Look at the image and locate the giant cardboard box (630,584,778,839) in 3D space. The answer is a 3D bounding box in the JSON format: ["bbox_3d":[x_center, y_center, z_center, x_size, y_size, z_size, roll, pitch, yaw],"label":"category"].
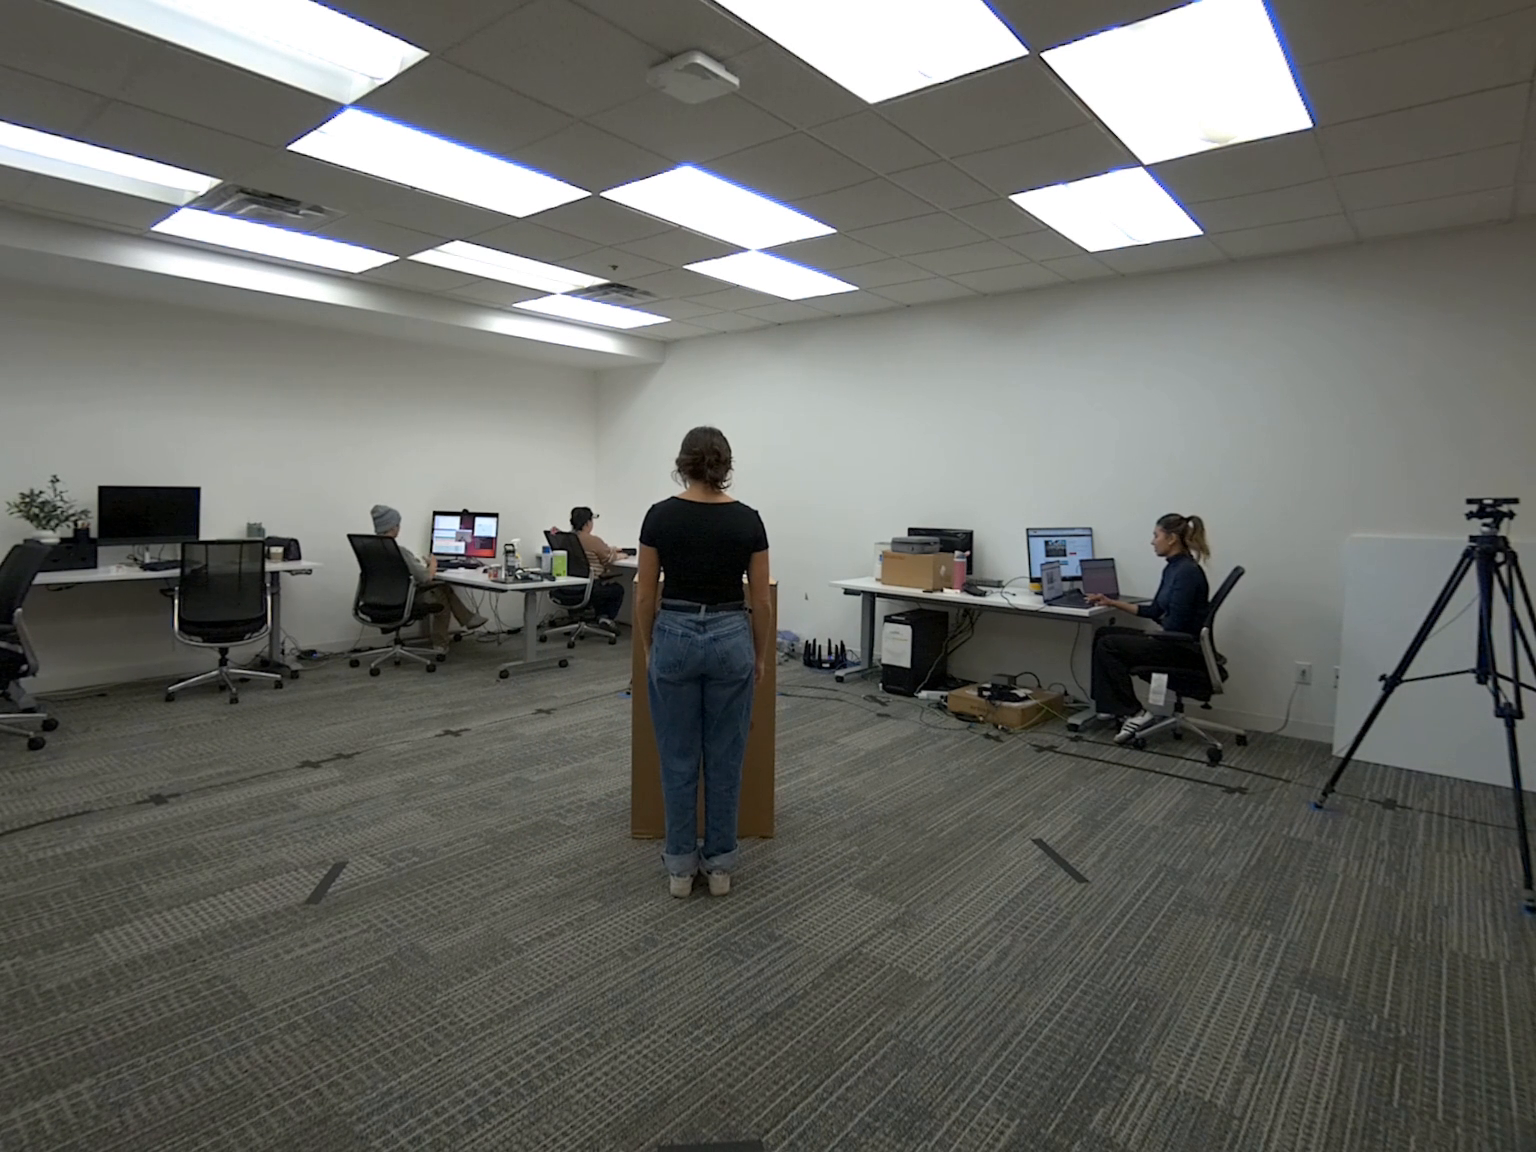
[{"bbox_3d":[-0.281,0.513,3.568,0.575,1.024,0.429,1,2,-4],"label":"giant cardboard box"}]
